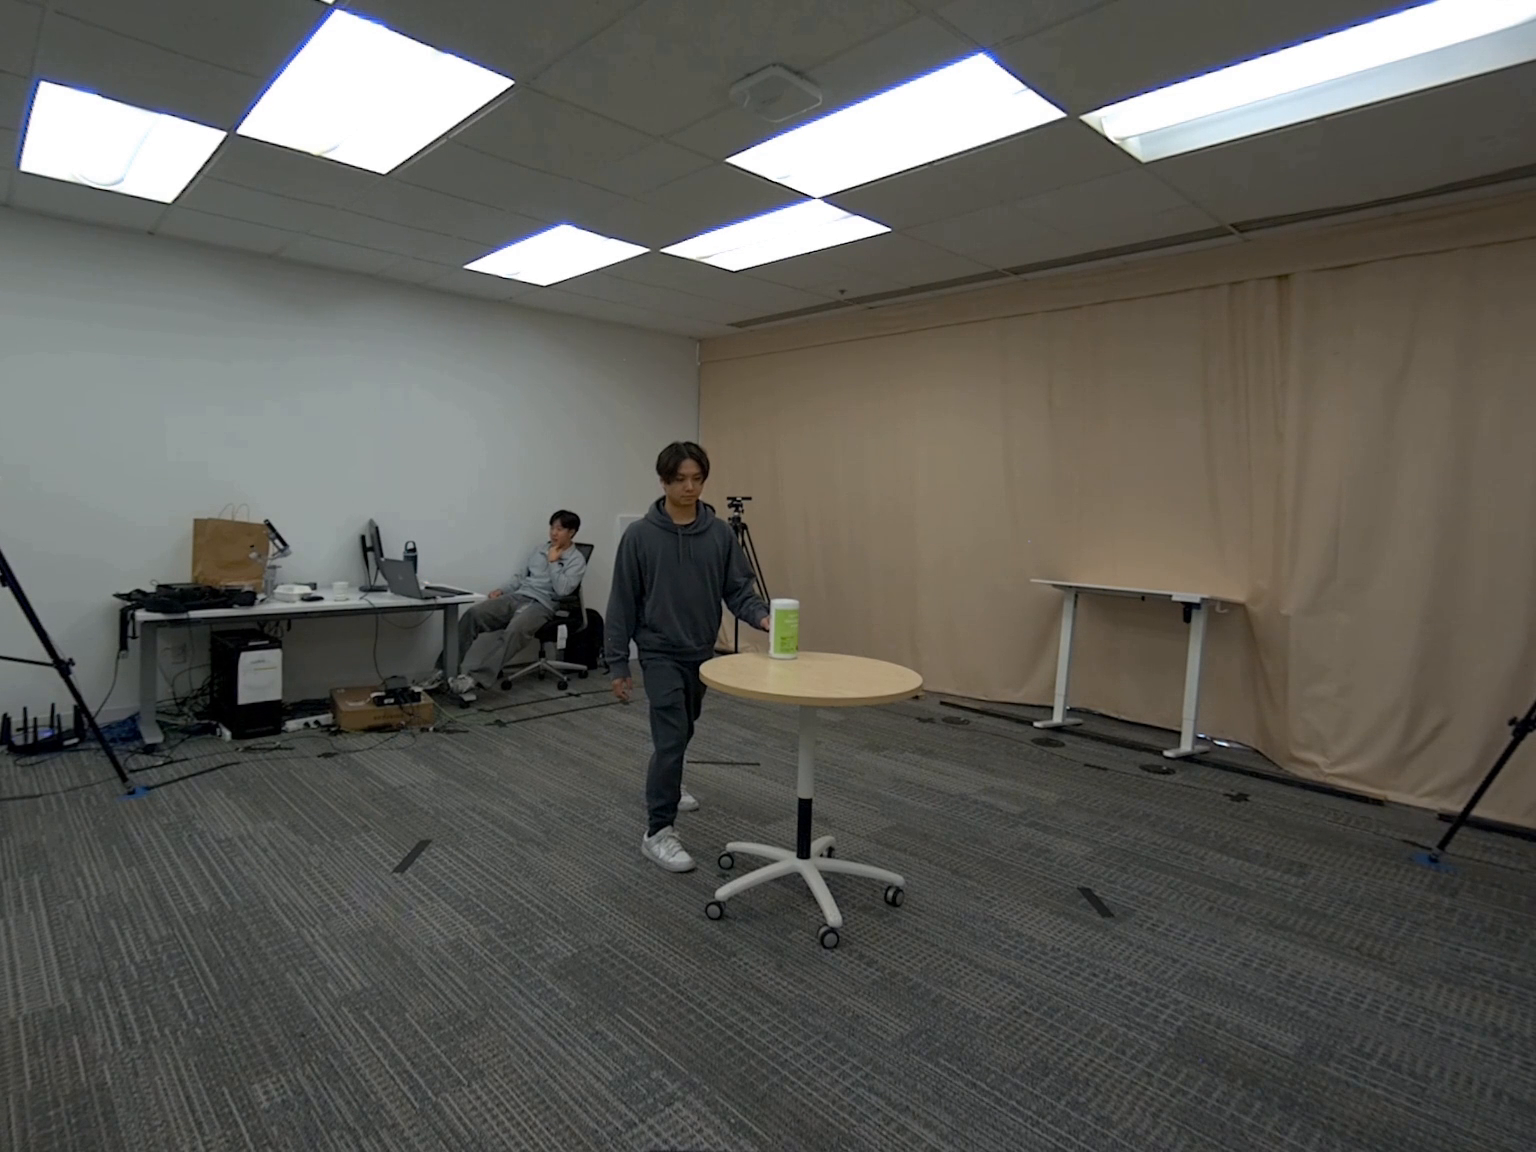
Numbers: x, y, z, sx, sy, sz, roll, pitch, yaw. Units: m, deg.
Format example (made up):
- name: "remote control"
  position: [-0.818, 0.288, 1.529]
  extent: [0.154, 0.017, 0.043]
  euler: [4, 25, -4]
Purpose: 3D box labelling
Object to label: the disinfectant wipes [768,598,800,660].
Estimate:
- name: "disinfectant wipes"
  position: [0.052, 0.198, 3.172]
  extent: [0.118, 0.217, 0.118]
  euler: [3, 4, -2]
